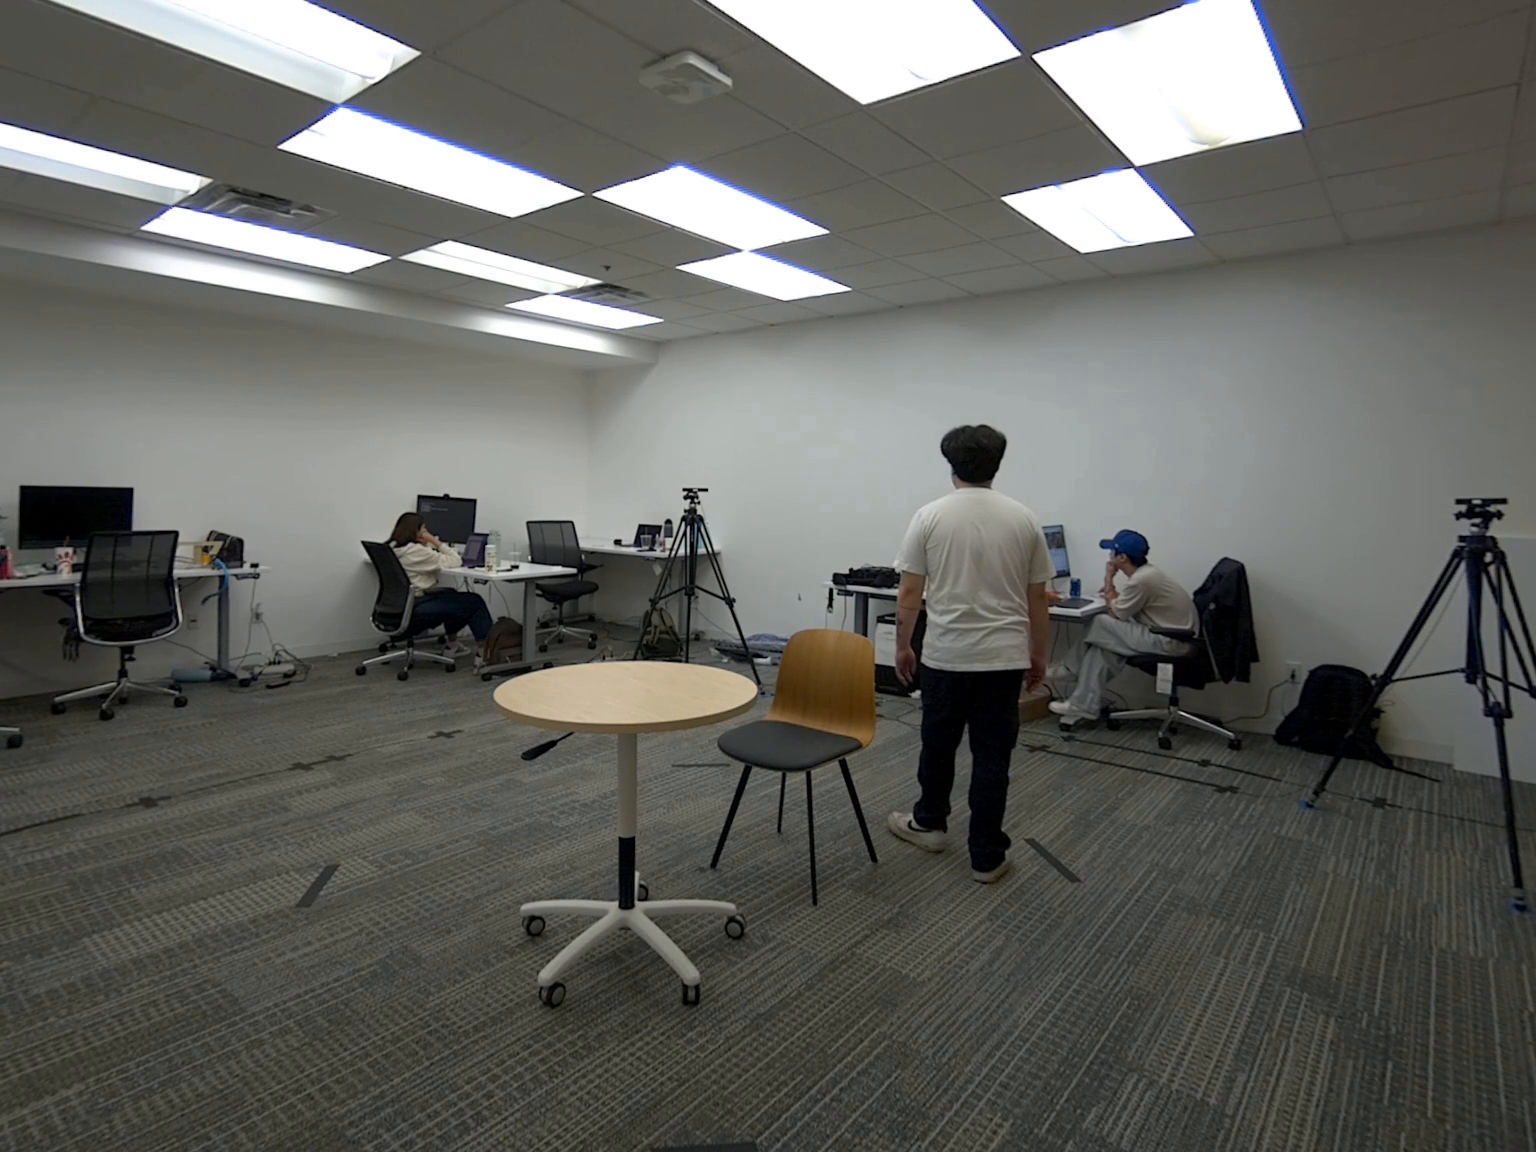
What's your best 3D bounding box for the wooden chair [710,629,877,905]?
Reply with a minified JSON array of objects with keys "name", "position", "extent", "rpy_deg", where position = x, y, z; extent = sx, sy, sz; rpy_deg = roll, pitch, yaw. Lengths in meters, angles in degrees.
[{"name":"wooden chair","position":[0.096,0.646,3.134],"extent":[0.494,0.878,0.506],"rpy_deg":[4,0,36]}]
